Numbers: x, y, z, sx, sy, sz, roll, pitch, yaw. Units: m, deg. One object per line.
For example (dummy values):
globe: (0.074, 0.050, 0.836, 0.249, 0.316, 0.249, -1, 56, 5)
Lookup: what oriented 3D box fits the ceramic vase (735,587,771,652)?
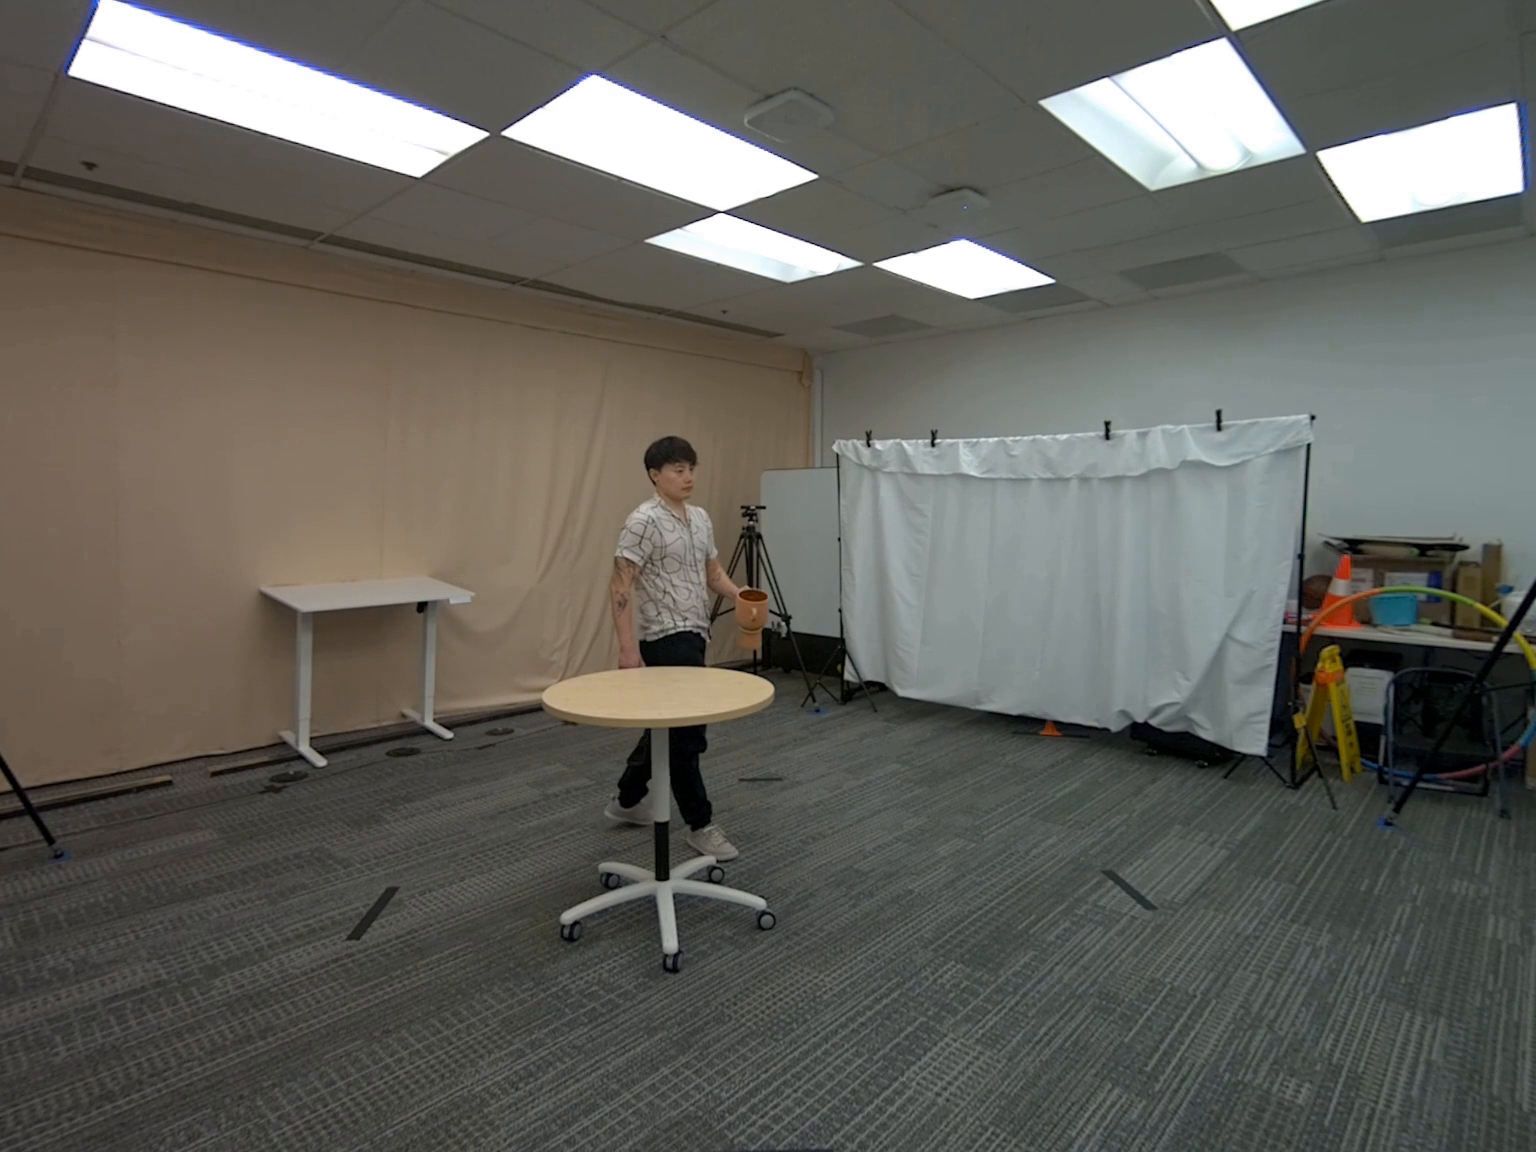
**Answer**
ceramic vase: (-0.069, 0.179, 3.364, 0.139, 0.217, 0.155, 15, 23, 30)
